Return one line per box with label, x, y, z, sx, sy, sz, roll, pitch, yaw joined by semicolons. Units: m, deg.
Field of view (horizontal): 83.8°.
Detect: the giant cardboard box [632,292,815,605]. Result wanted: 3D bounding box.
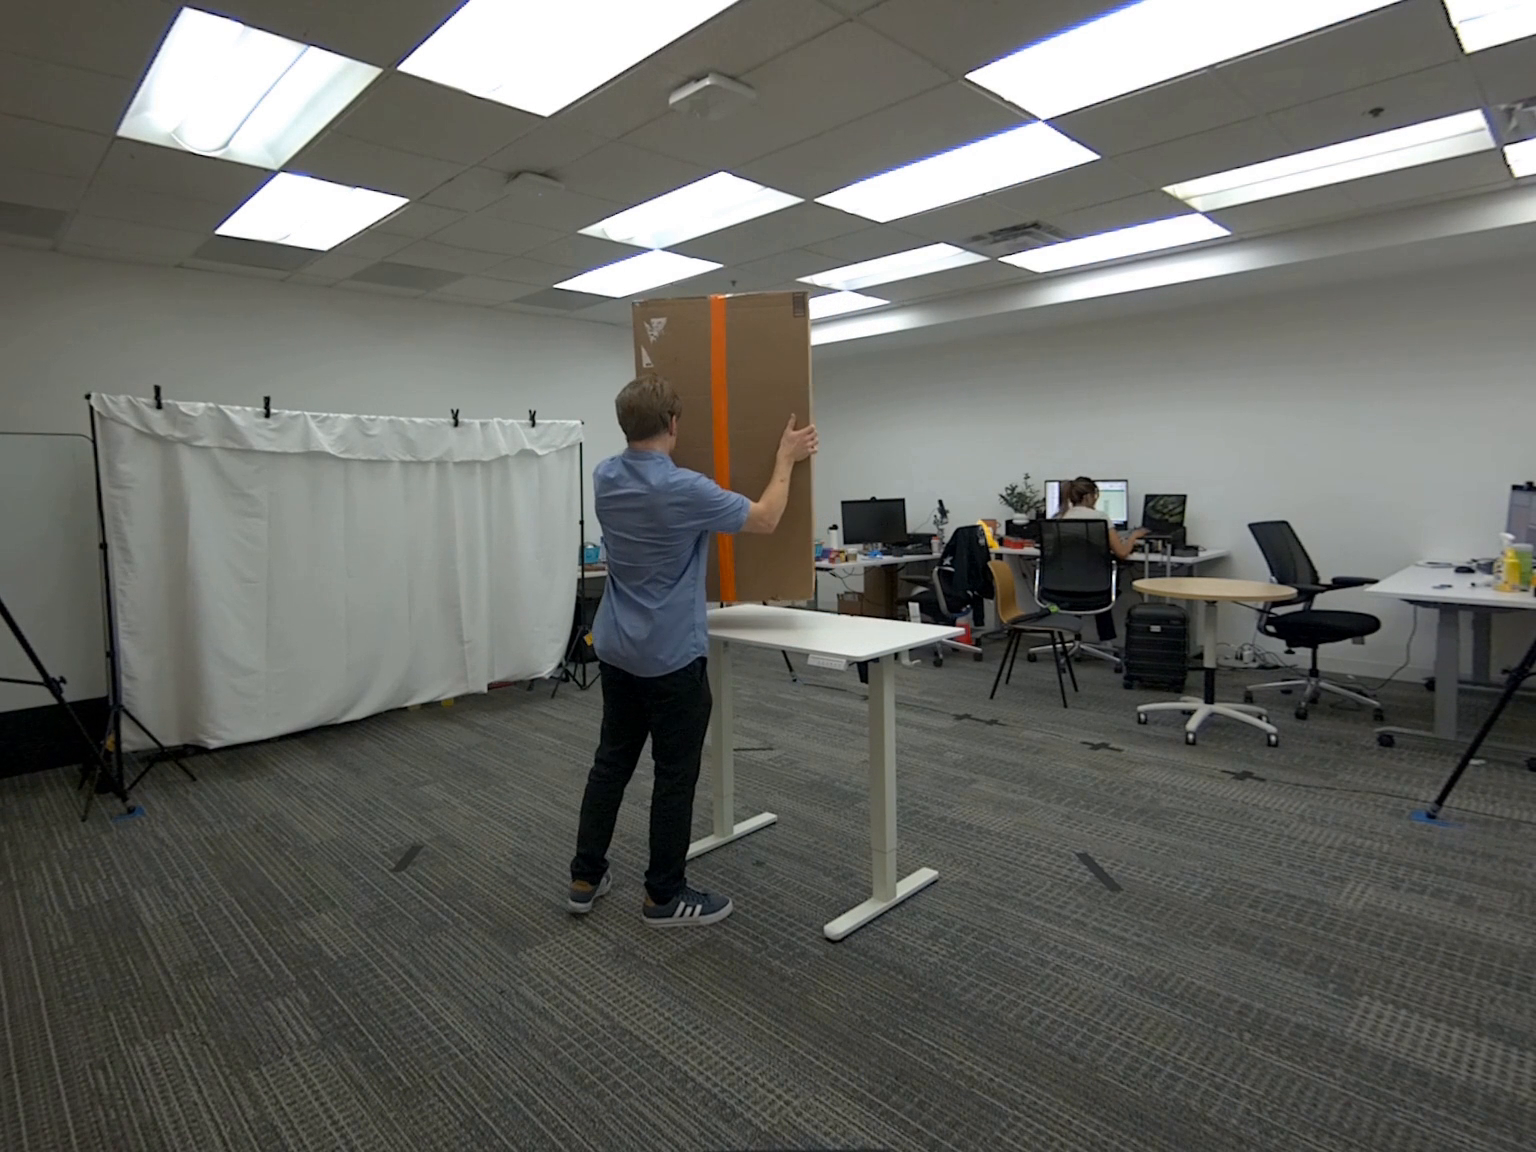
giant cardboard box;-0.131;-0.451;3.038;0.581;1.016;0.428;-1;10;6
